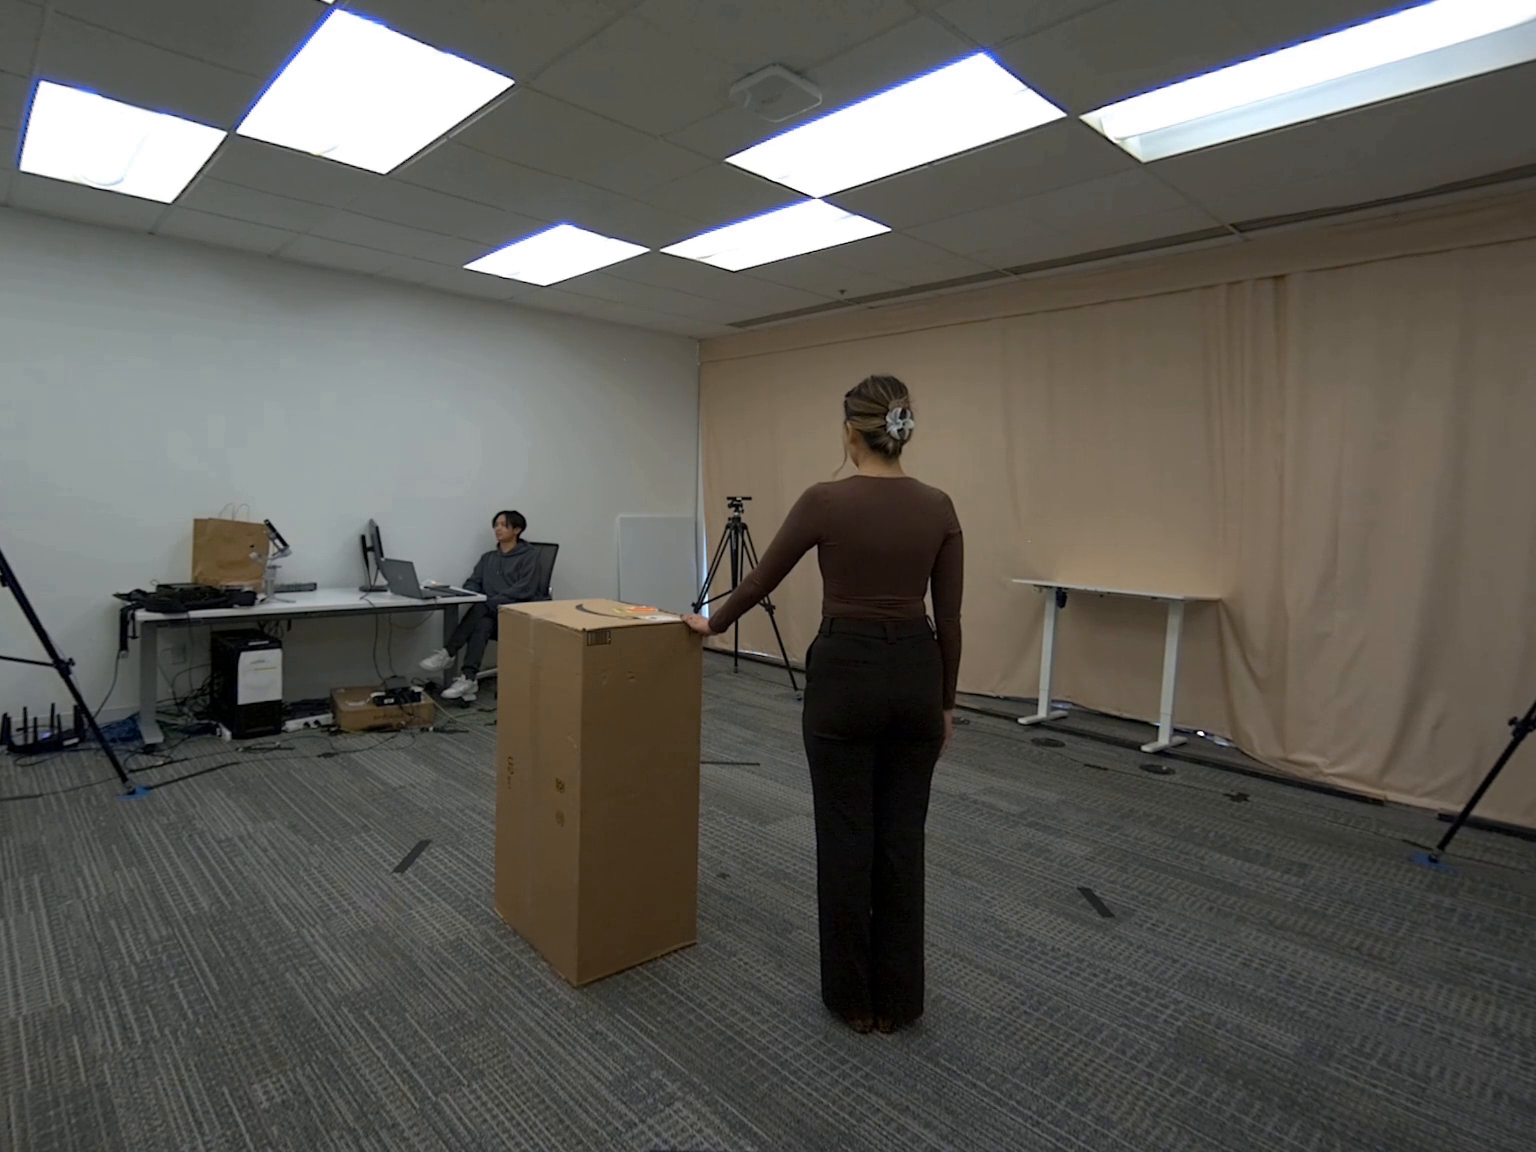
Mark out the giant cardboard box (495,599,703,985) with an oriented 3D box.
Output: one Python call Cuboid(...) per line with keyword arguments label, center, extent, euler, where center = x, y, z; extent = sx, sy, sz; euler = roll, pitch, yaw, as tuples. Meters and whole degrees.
Cuboid(label="giant cardboard box", center=(-0.560, 0.625, 2.696), extent=(0.436, 1.025, 0.598), euler=(0, 3, -38))
